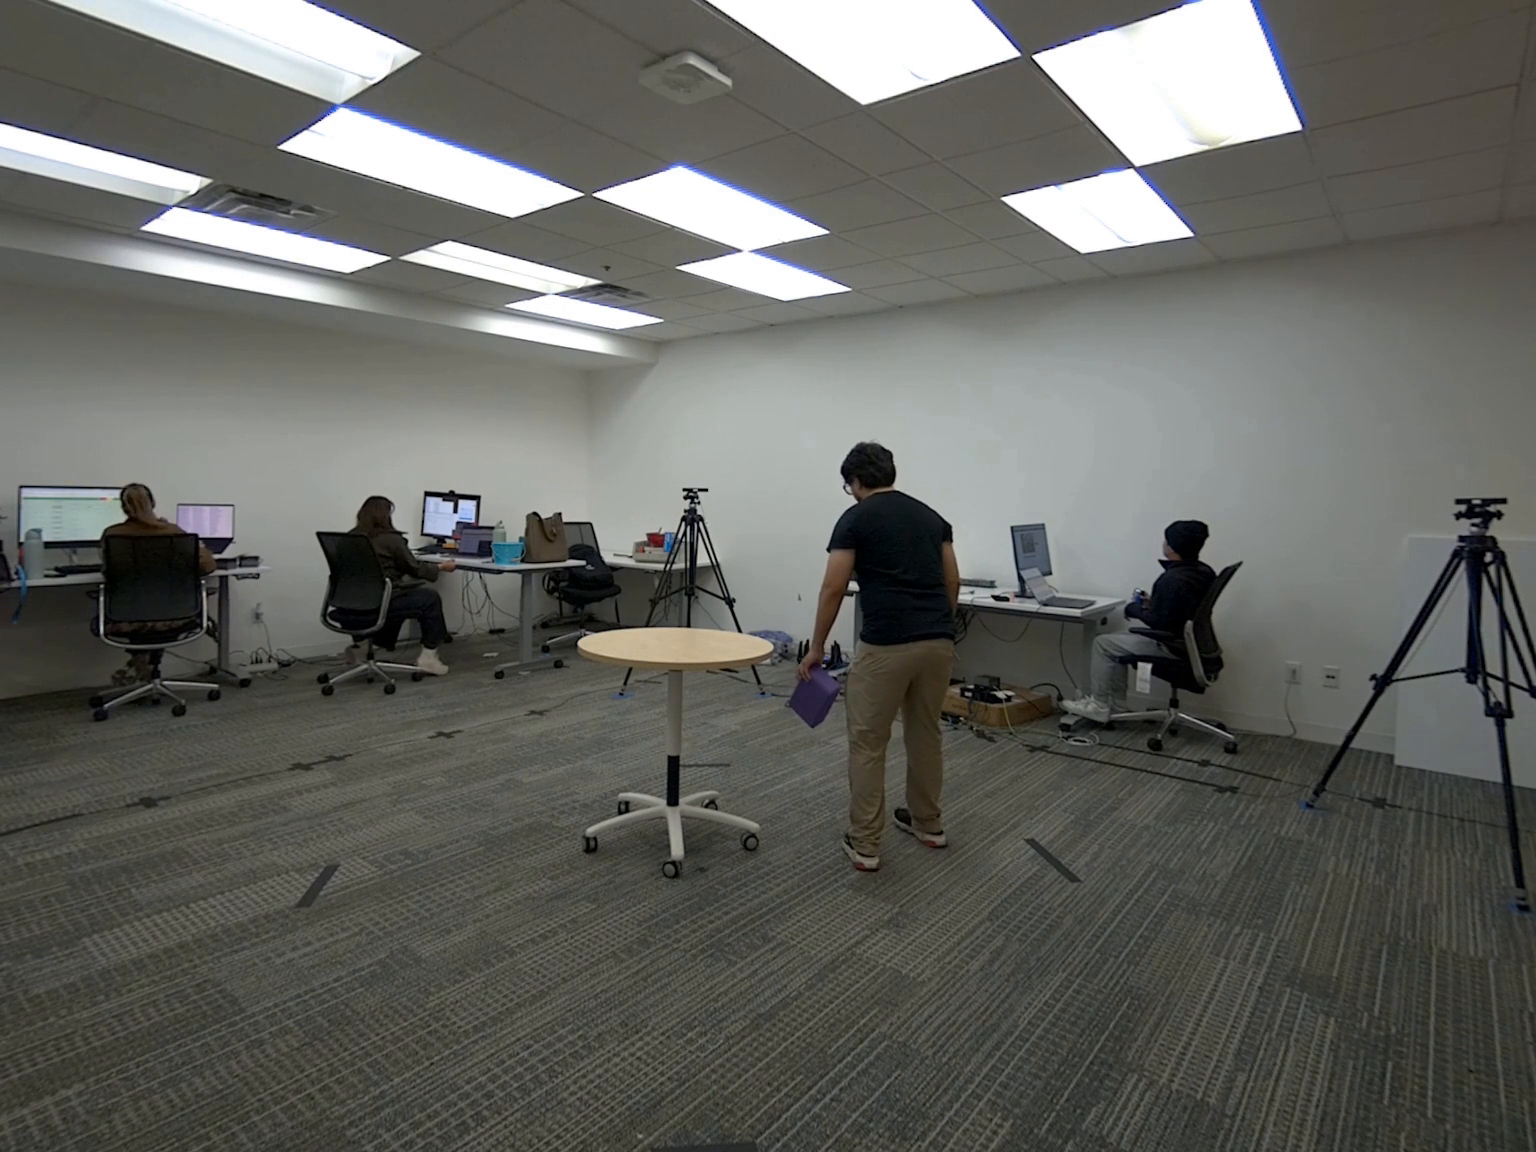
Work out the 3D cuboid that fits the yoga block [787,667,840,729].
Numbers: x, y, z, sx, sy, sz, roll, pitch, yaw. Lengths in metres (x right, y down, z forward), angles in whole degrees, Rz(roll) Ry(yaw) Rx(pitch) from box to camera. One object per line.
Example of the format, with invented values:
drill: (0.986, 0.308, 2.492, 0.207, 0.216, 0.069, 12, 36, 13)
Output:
yoga block: (0.175, 0.470, 3.374, 0.075, 0.226, 0.154, -20, 54, -42)
